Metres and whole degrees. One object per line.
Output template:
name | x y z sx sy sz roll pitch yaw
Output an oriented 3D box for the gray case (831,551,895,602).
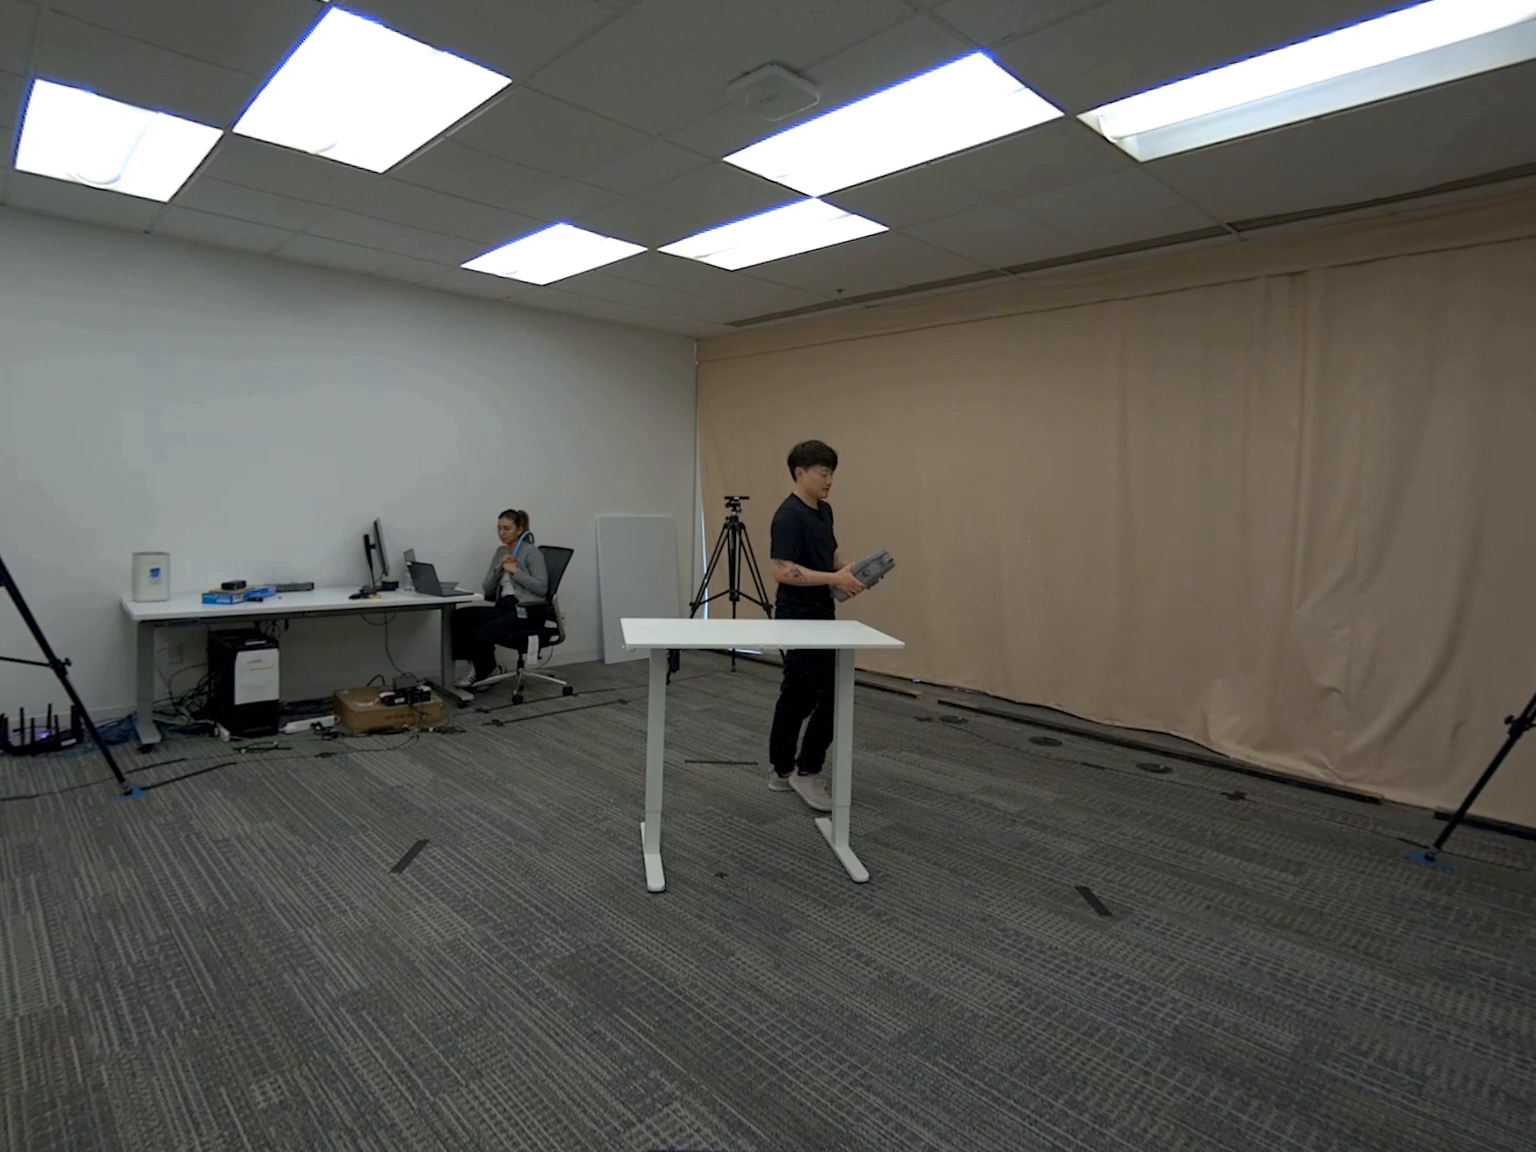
gray case | 0.426 -0.013 3.865 0.261 0.105 0.253 -40 -11 32
